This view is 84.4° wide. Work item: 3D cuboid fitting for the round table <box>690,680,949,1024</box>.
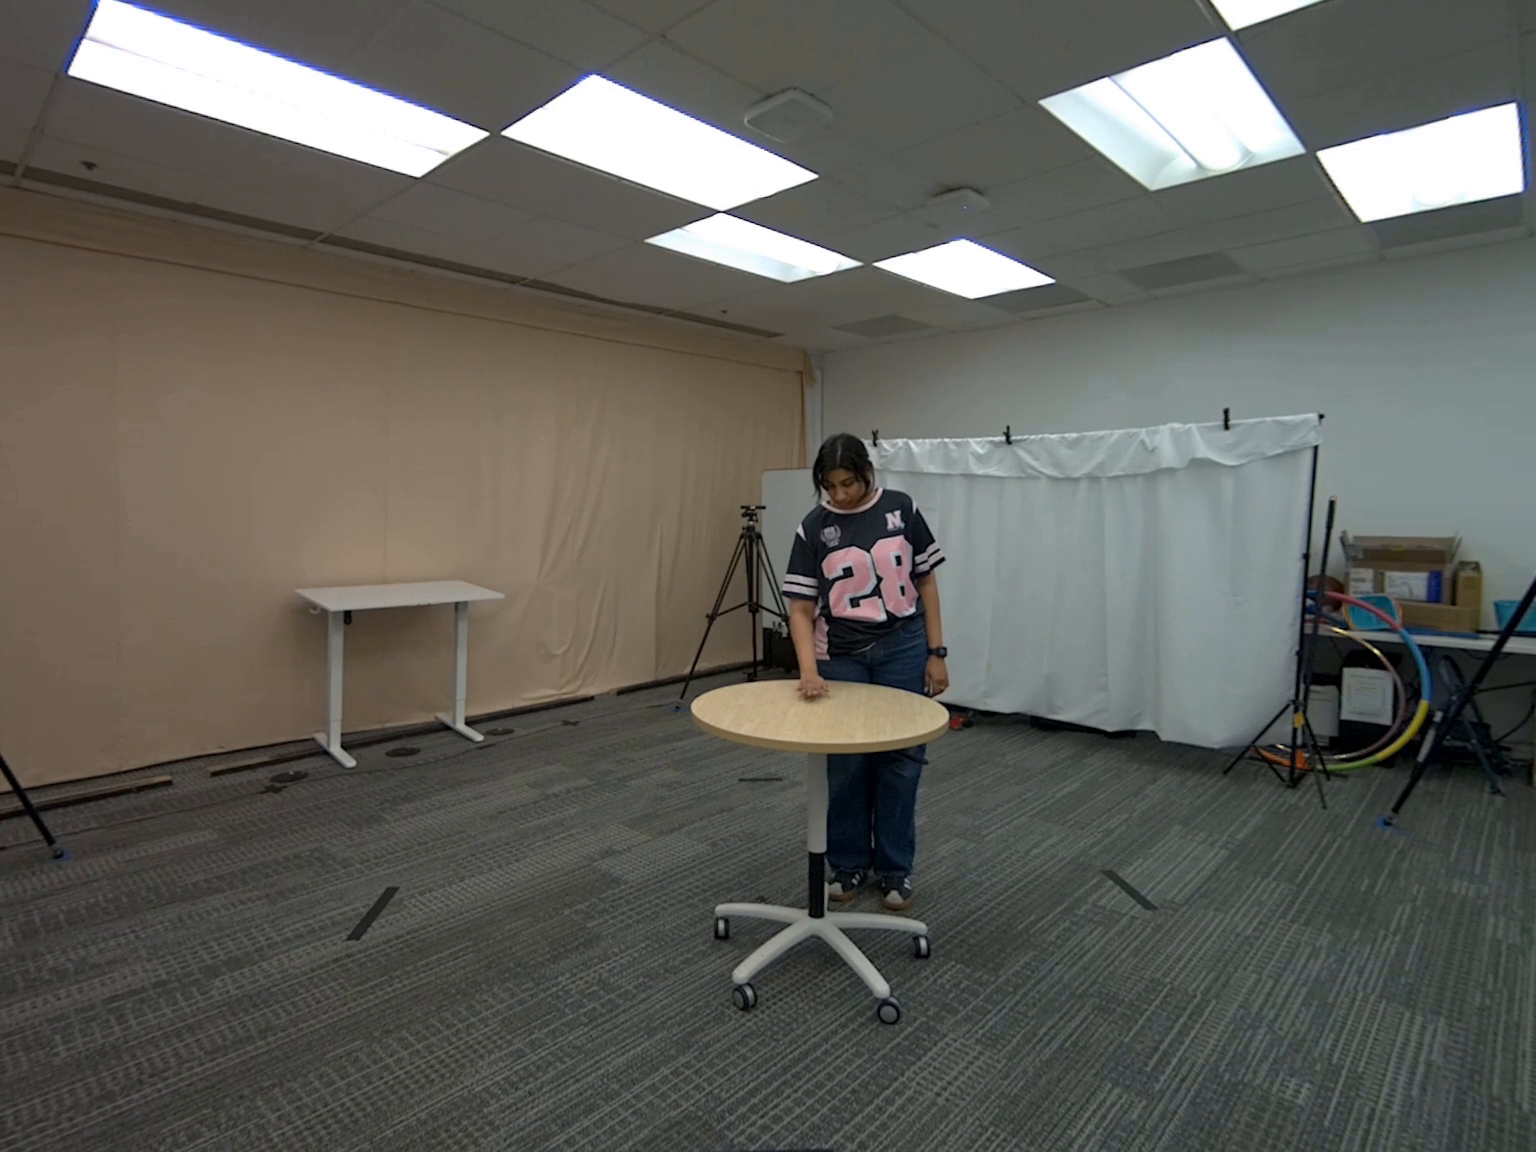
[{"bbox_3d":[0.162,0.788,2.550,0.784,0.785,0.788,0,4,-2],"label":"round table"}]
